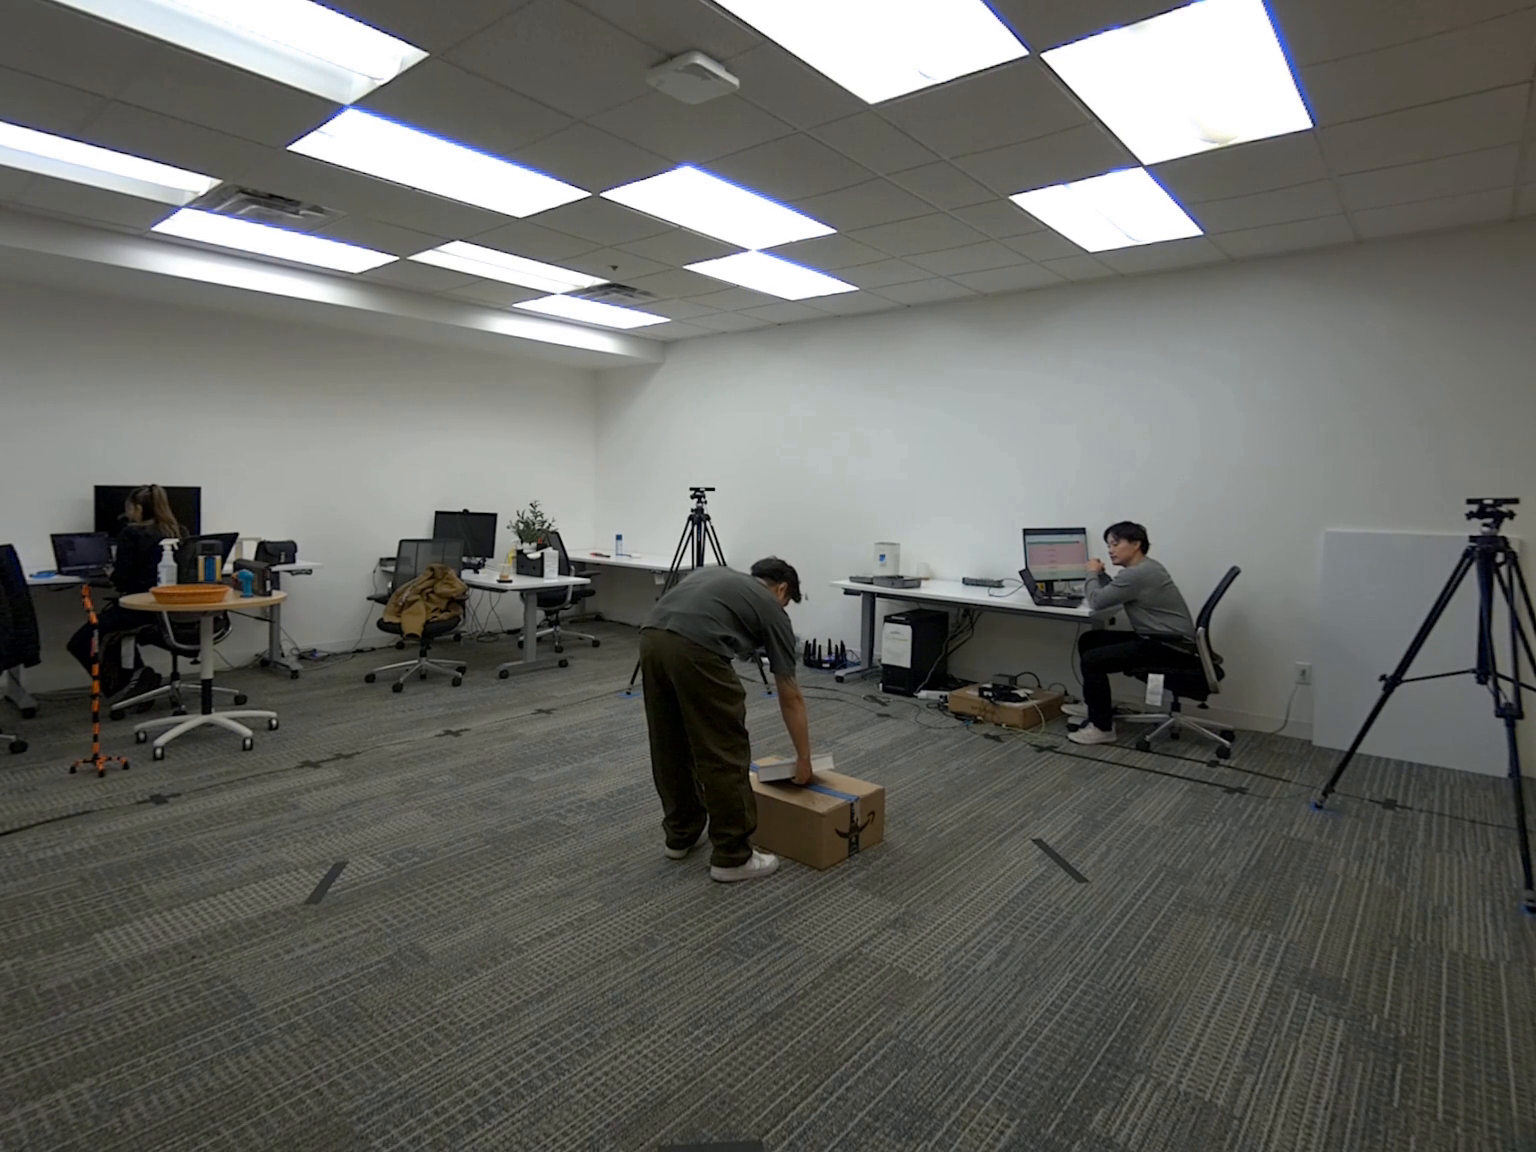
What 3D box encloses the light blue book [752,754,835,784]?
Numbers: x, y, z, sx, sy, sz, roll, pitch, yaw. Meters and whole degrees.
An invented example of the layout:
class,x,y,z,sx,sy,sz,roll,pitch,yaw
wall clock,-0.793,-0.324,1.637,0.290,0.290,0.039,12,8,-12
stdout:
class,x,y,z,sx,sy,sz,roll,pitch,yaw
light blue book,0.102,0.768,3.452,0.253,0.060,0.195,-2,-11,-37
